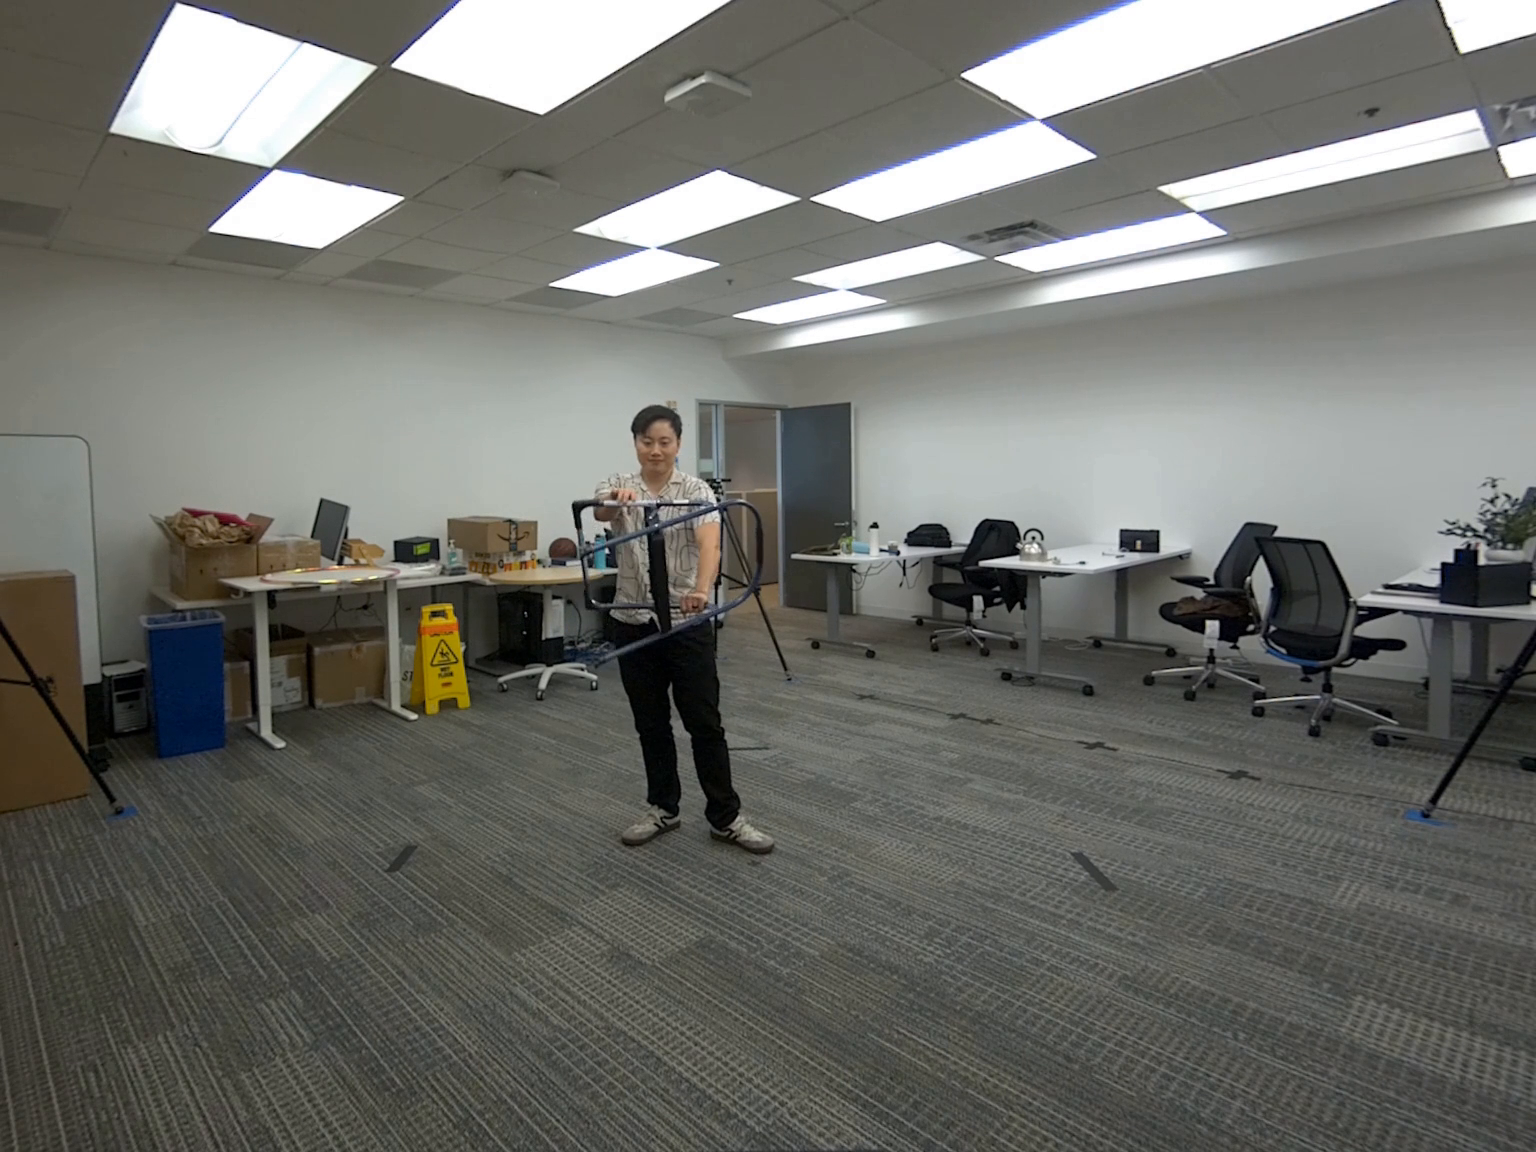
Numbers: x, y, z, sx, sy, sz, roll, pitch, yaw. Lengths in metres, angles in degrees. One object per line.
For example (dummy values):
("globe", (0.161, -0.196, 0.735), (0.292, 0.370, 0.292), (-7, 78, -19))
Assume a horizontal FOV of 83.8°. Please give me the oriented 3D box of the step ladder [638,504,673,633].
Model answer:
("step ladder", (-0.294, -0.015, 2.736), (0.601, 0.420, 0.361), (-9, 32, -11))
